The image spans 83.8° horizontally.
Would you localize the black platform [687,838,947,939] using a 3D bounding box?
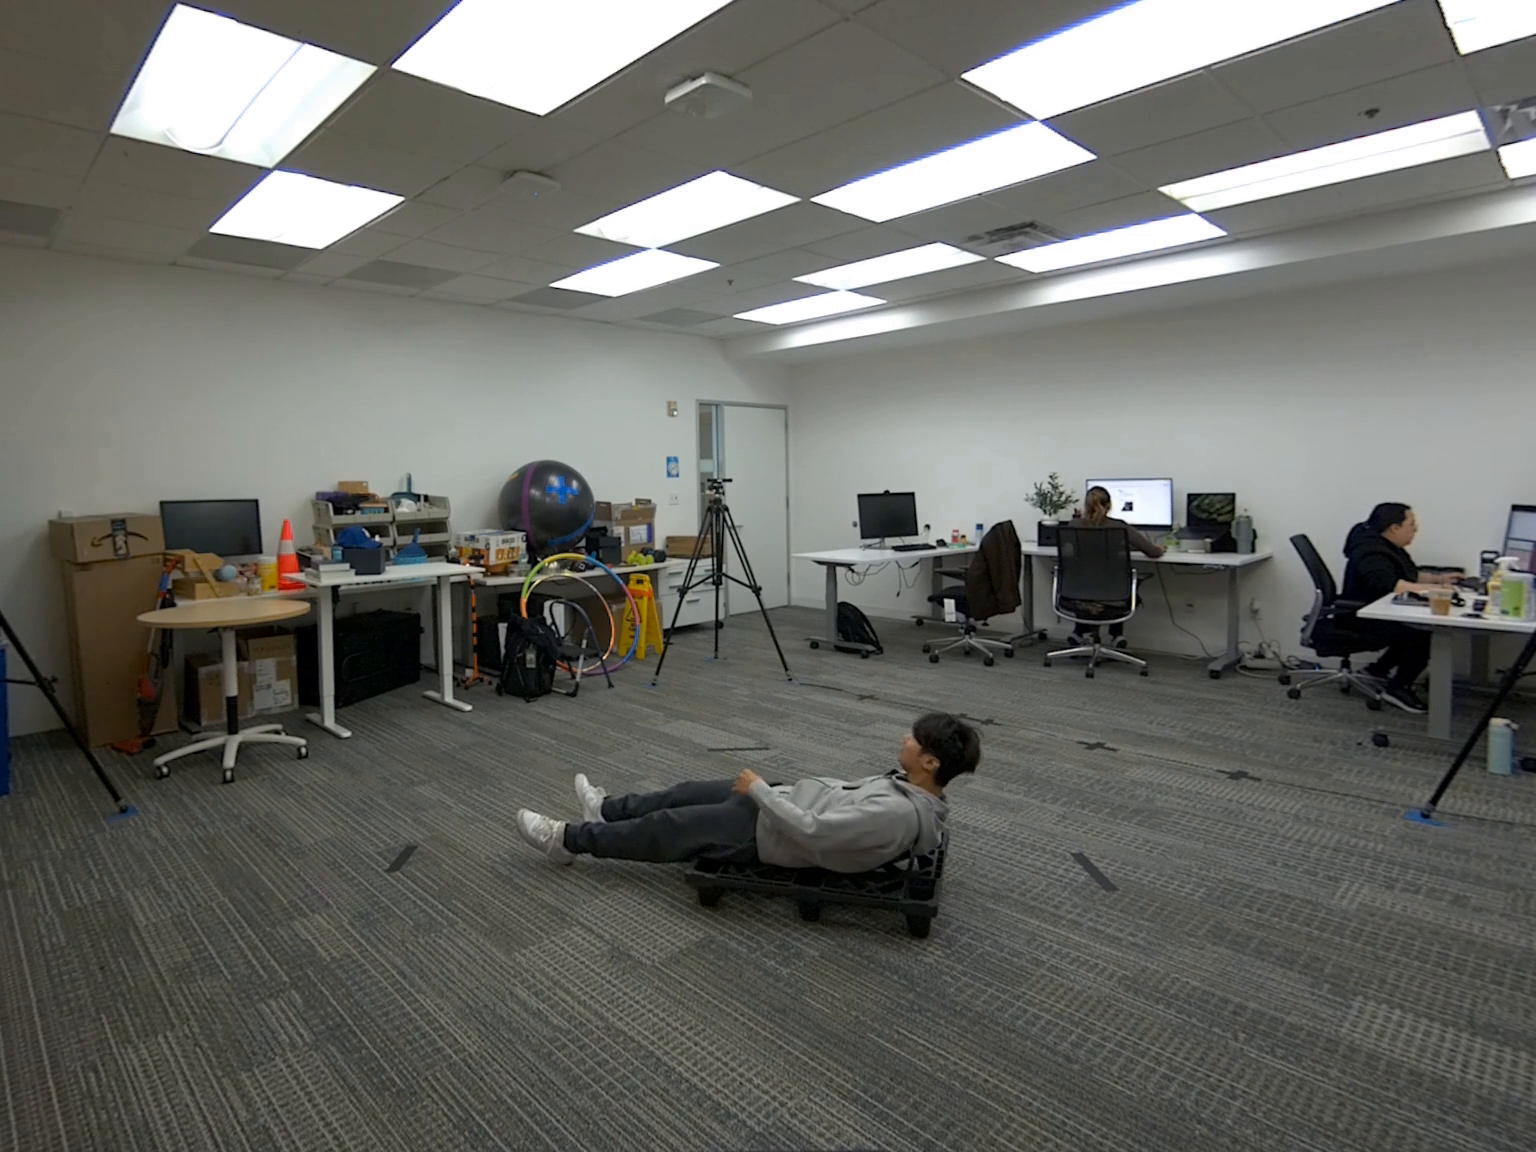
[{"bbox_3d":[0.186,0.985,2.915,0.819,0.143,0.597,1,5,17],"label":"black platform"}]
